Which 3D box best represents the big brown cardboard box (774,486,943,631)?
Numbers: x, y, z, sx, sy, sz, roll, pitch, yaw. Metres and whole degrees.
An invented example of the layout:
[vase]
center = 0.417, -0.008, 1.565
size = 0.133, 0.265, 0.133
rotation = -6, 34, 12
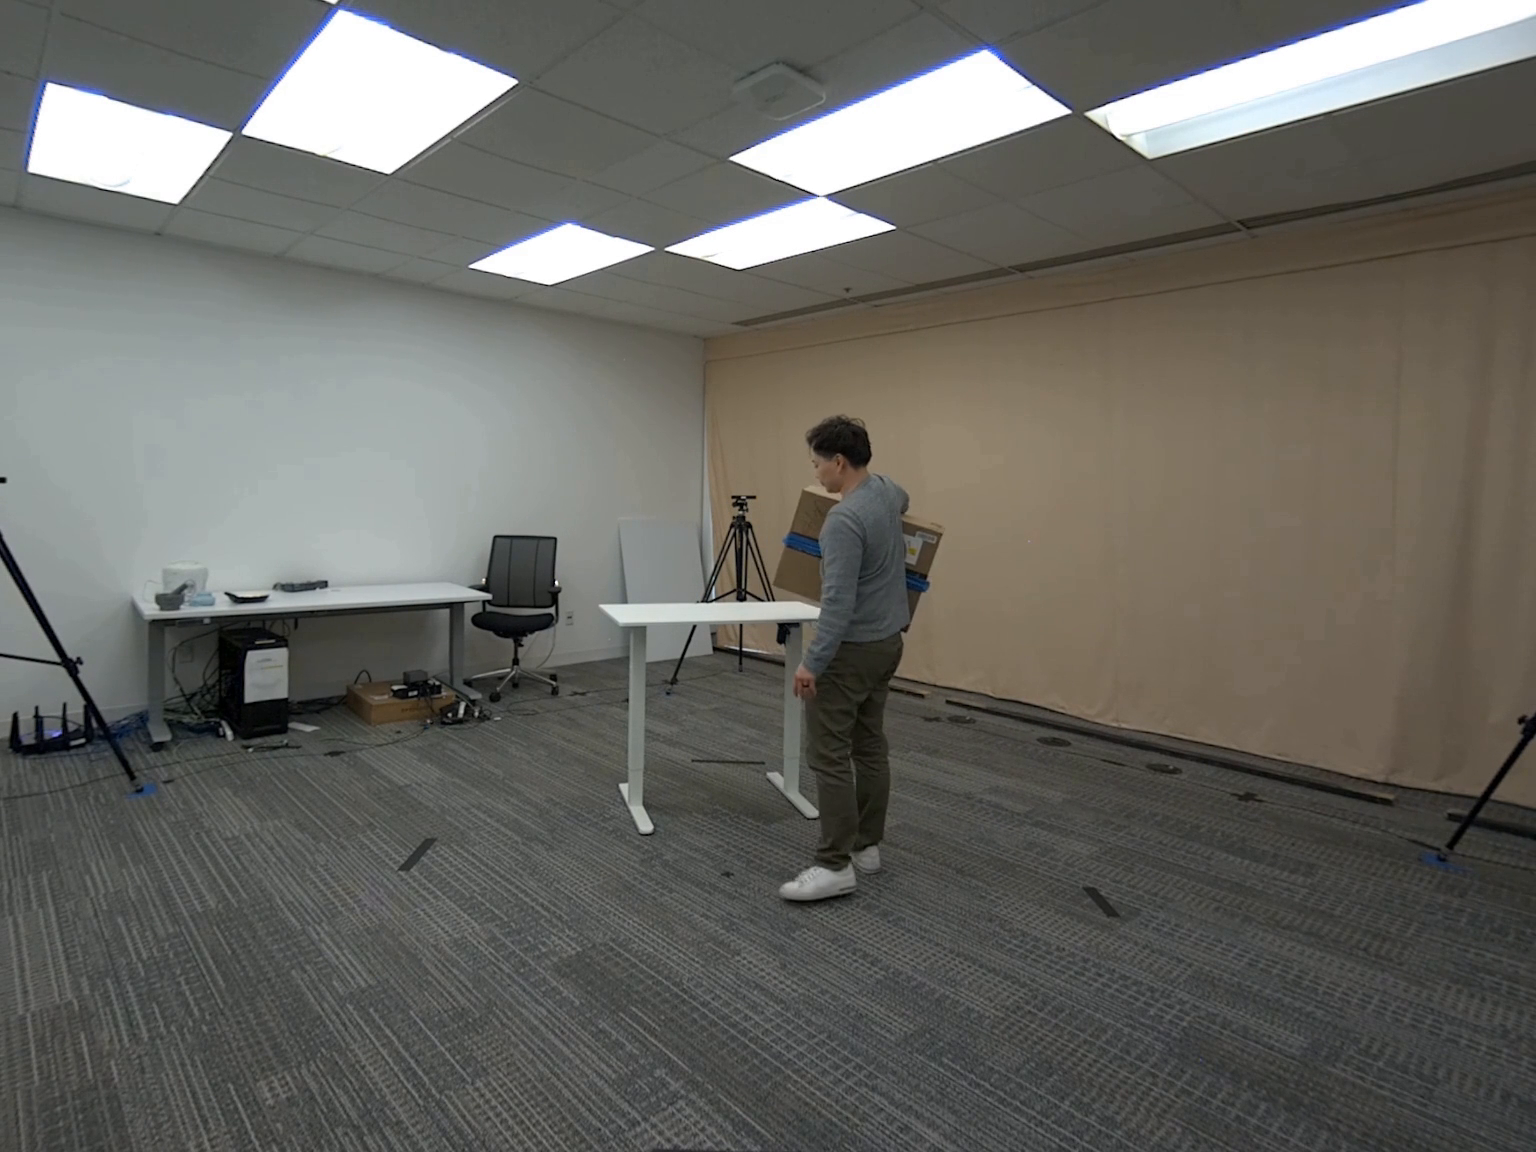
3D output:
[big brown cardboard box]
center = 0.360, -0.077, 3.382
size = 0.597, 0.415, 0.231
rotation = 19, 14, 14
